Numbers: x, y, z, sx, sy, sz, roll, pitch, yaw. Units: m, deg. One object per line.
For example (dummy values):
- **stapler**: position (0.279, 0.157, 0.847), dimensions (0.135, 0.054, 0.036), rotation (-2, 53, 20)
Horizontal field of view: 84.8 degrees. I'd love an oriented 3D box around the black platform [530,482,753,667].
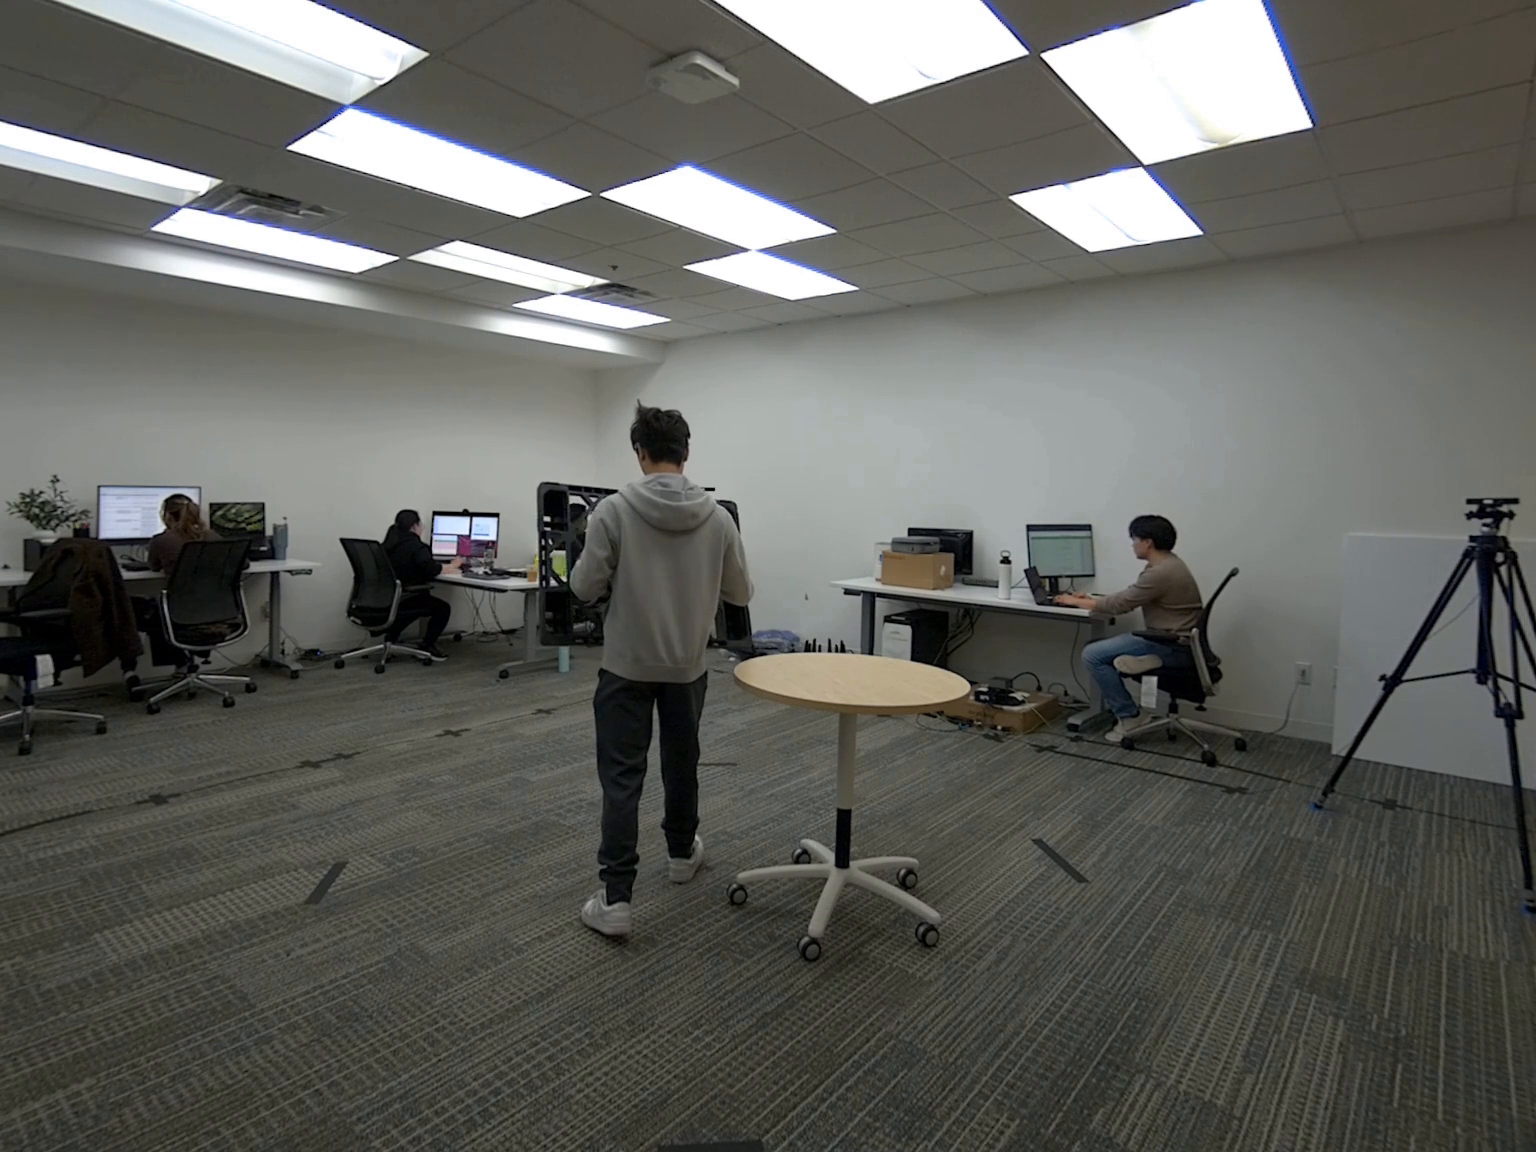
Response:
- **black platform**: position (-0.478, -0.009, 3.160), dimensions (0.785, 0.617, 0.144), rotation (3, -21, -25)
